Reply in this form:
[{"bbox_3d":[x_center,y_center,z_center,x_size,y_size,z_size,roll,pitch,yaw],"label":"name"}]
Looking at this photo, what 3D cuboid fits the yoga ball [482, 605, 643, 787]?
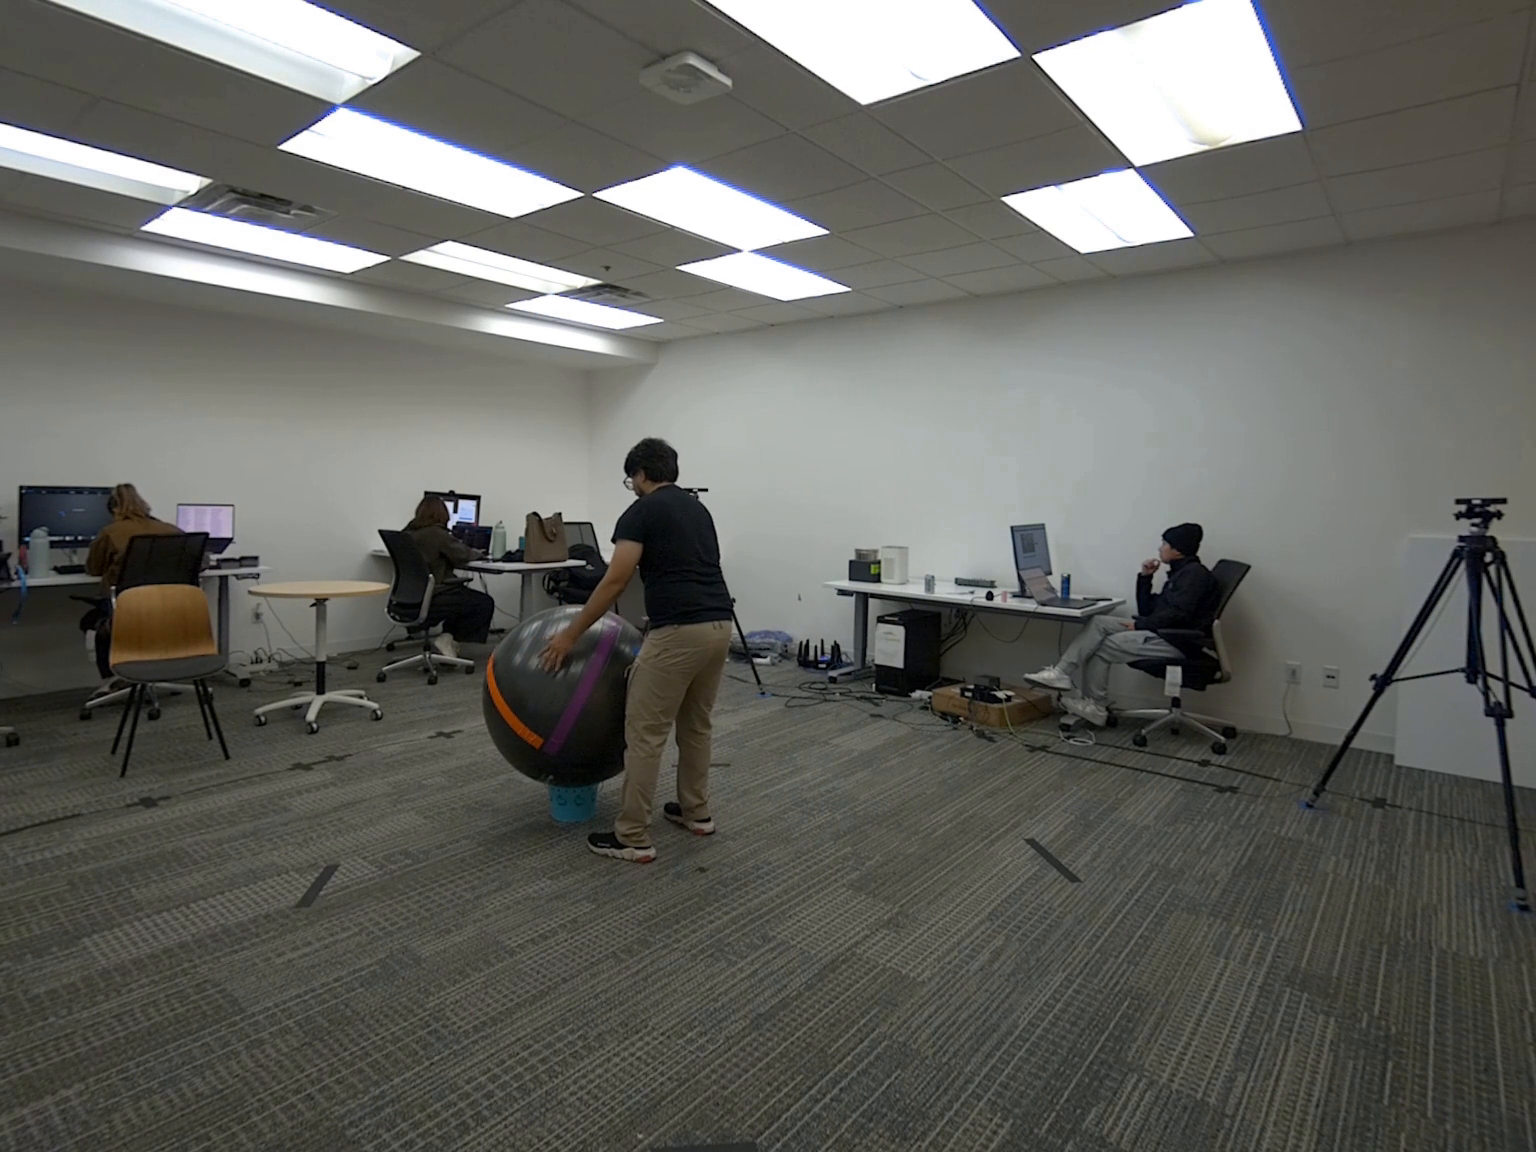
[{"bbox_3d":[-0.834,0.509,3.608,0.757,0.755,0.762,1,4,-2],"label":"yoga ball"}]
